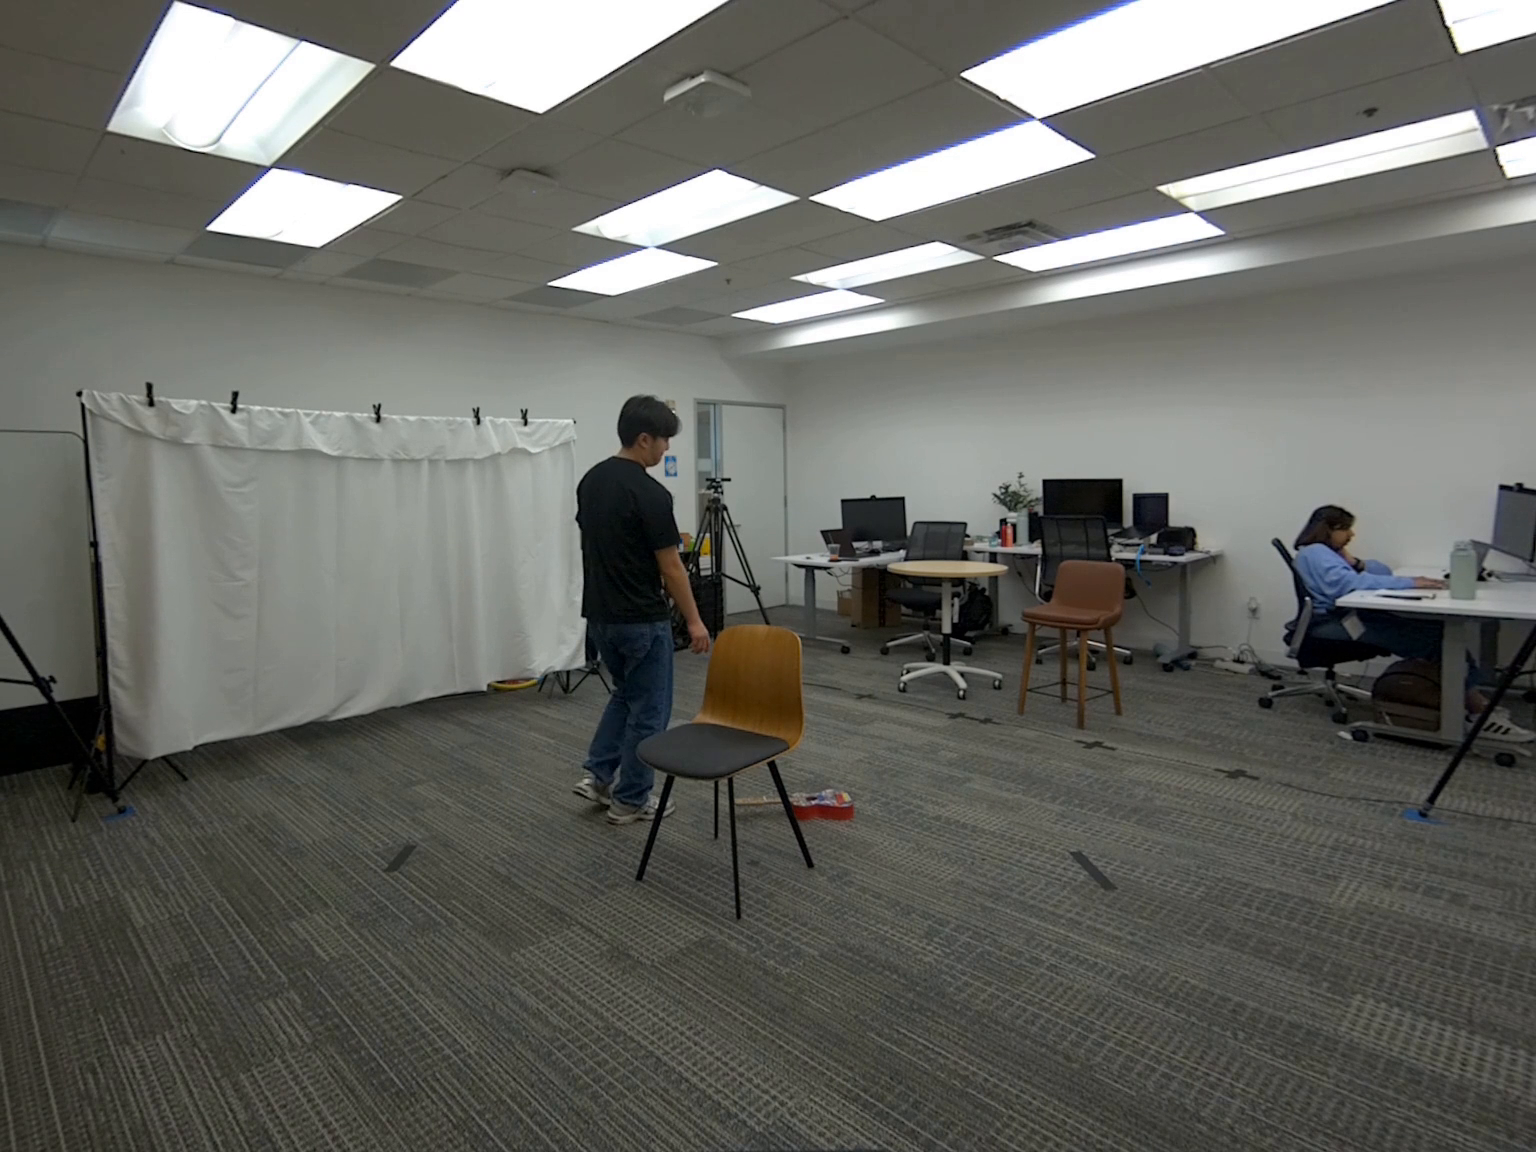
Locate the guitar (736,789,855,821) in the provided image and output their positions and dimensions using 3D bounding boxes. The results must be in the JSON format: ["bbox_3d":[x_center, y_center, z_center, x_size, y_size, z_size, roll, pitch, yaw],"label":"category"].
[{"bbox_3d":[0.107,0.946,3.577,0.500,0.070,0.193,0,7,4],"label":"guitar"}]
